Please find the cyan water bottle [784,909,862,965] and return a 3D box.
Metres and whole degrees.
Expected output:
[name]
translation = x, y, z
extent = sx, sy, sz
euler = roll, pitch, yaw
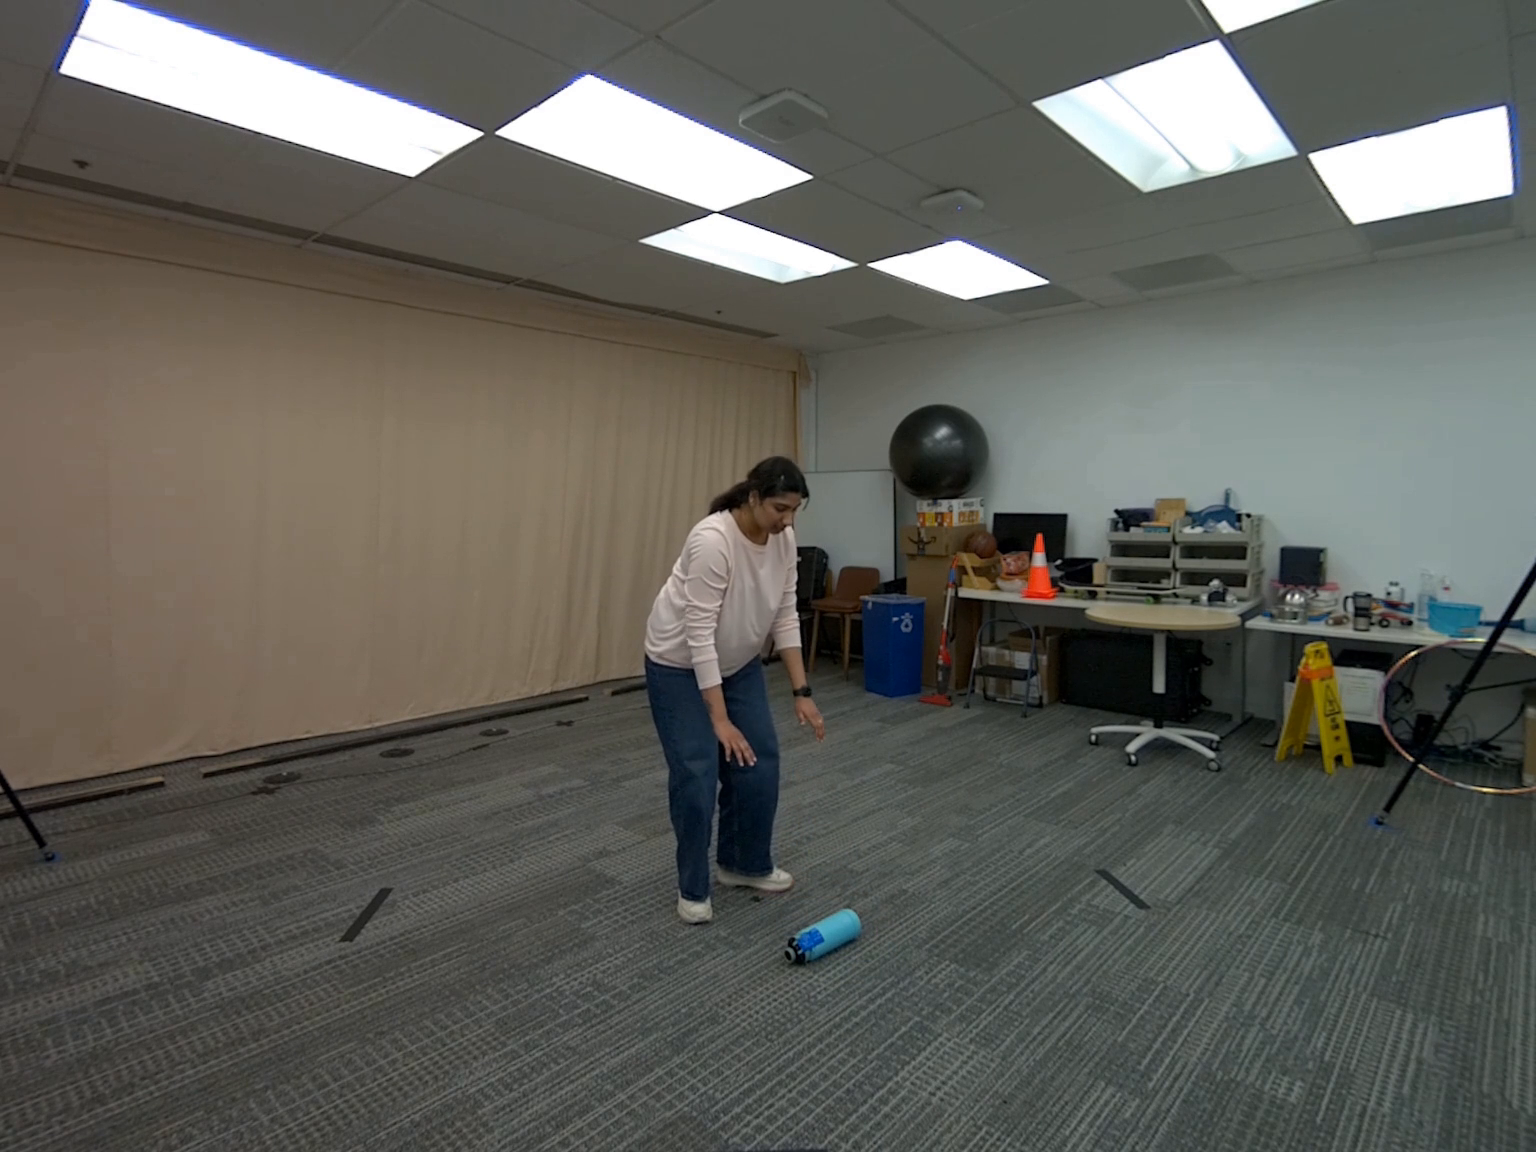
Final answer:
[cyan water bottle]
translation = 0.175, 1.125, 2.628
extent = 0.275, 0.092, 0.095
euler = -4, 5, -42
